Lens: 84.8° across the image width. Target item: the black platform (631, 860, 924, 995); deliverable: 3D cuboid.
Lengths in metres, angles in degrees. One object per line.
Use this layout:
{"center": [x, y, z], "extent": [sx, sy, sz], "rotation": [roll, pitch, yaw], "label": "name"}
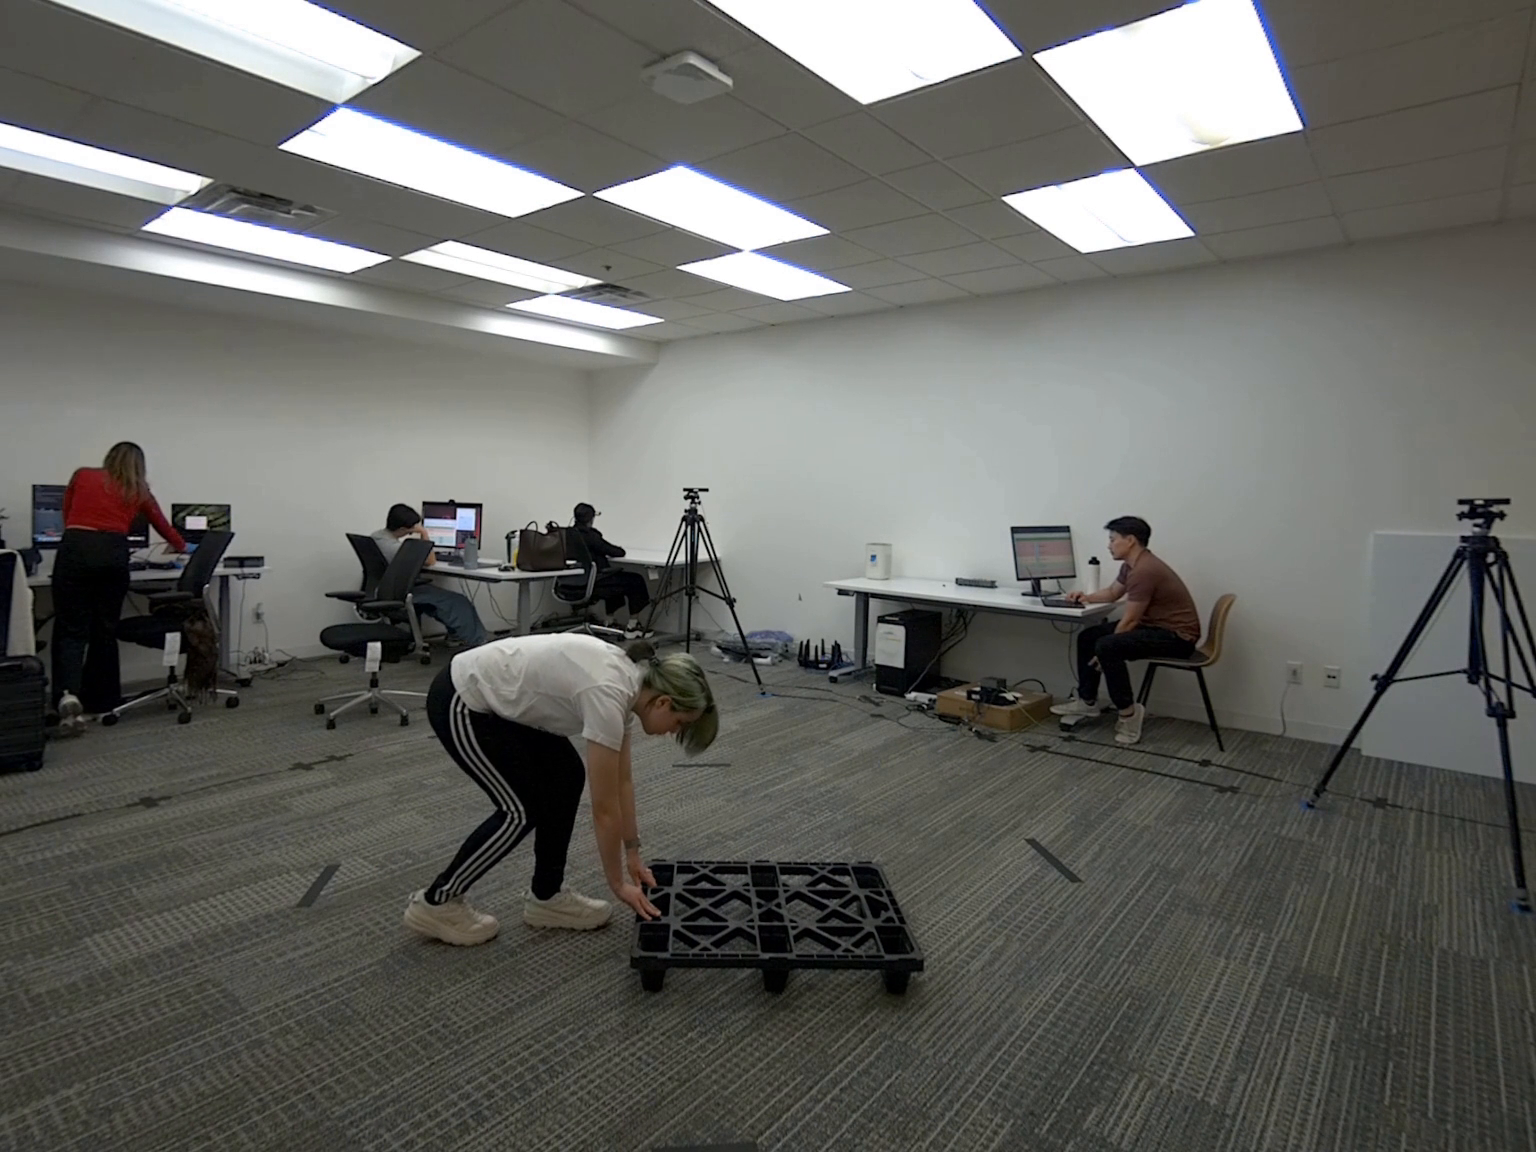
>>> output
{"center": [-0.001, 1.058, 2.579], "extent": [0.804, 0.142, 0.609], "rotation": [1, 6, -2], "label": "black platform"}
